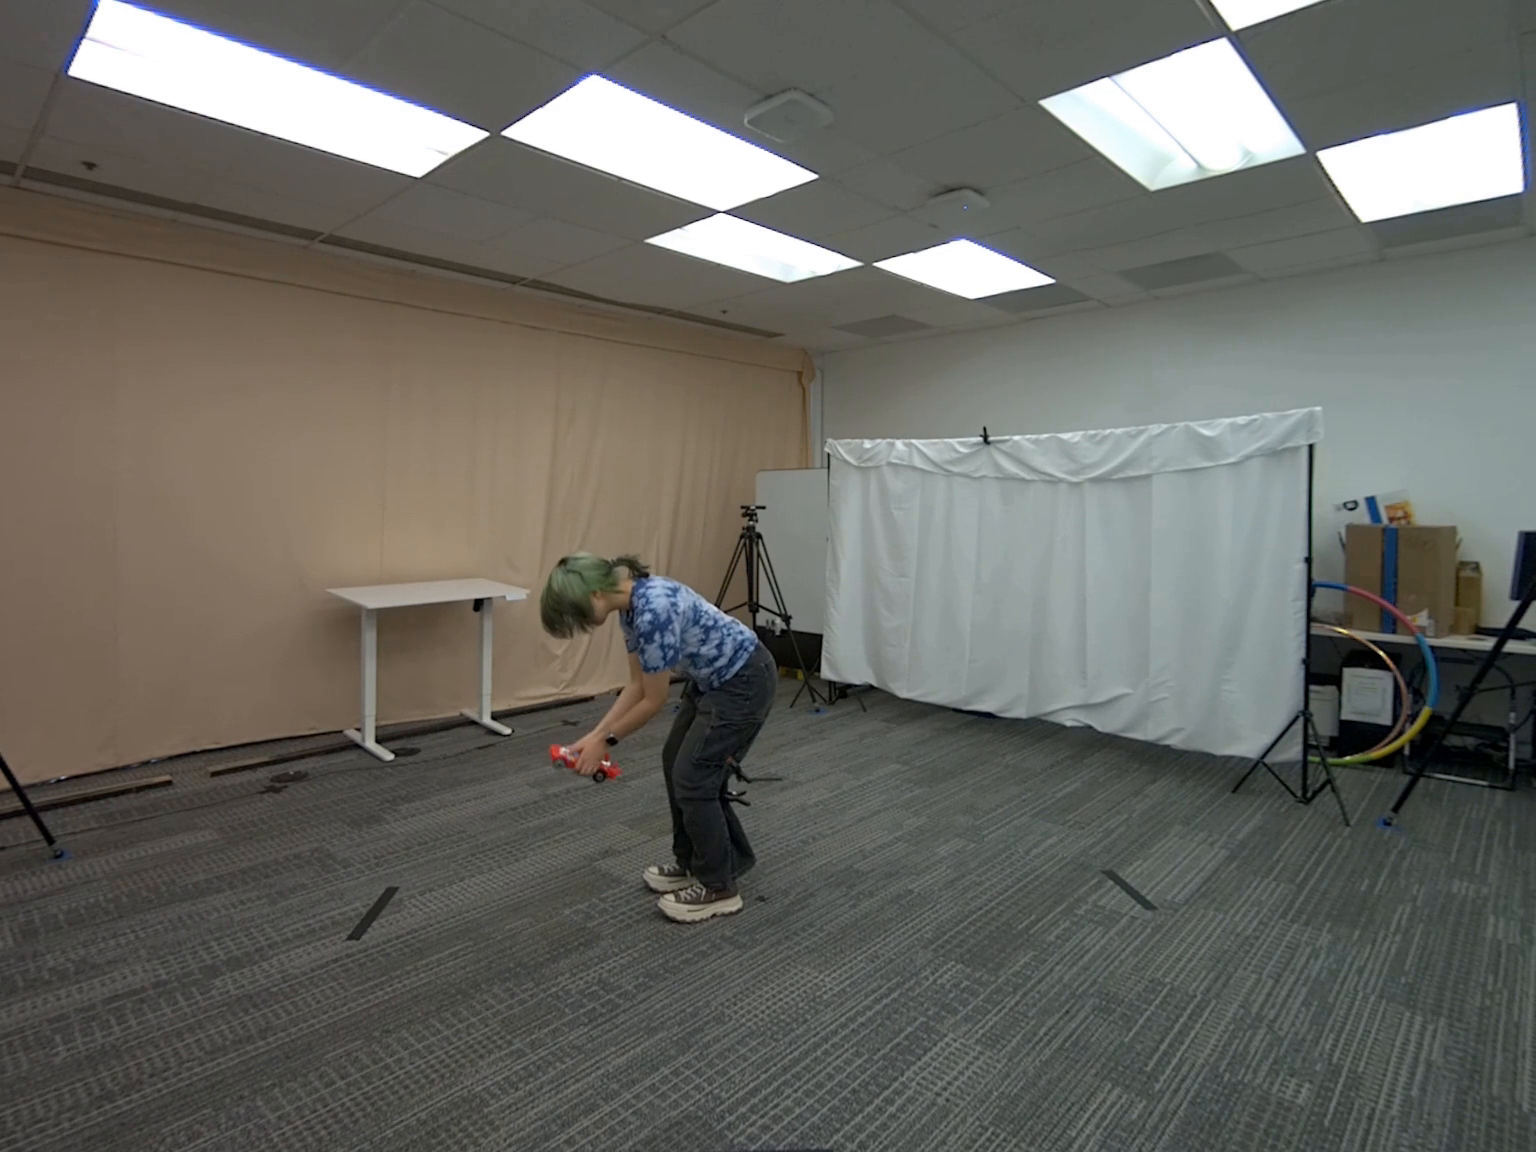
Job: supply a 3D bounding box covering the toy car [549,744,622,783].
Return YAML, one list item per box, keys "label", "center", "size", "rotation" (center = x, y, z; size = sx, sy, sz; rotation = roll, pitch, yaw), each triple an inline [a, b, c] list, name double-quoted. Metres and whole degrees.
- label: "toy car"
  center: [-0.626, 0.644, 2.877]
  size: [0.251, 0.083, 0.132]
  rotation: [11, 5, -11]
